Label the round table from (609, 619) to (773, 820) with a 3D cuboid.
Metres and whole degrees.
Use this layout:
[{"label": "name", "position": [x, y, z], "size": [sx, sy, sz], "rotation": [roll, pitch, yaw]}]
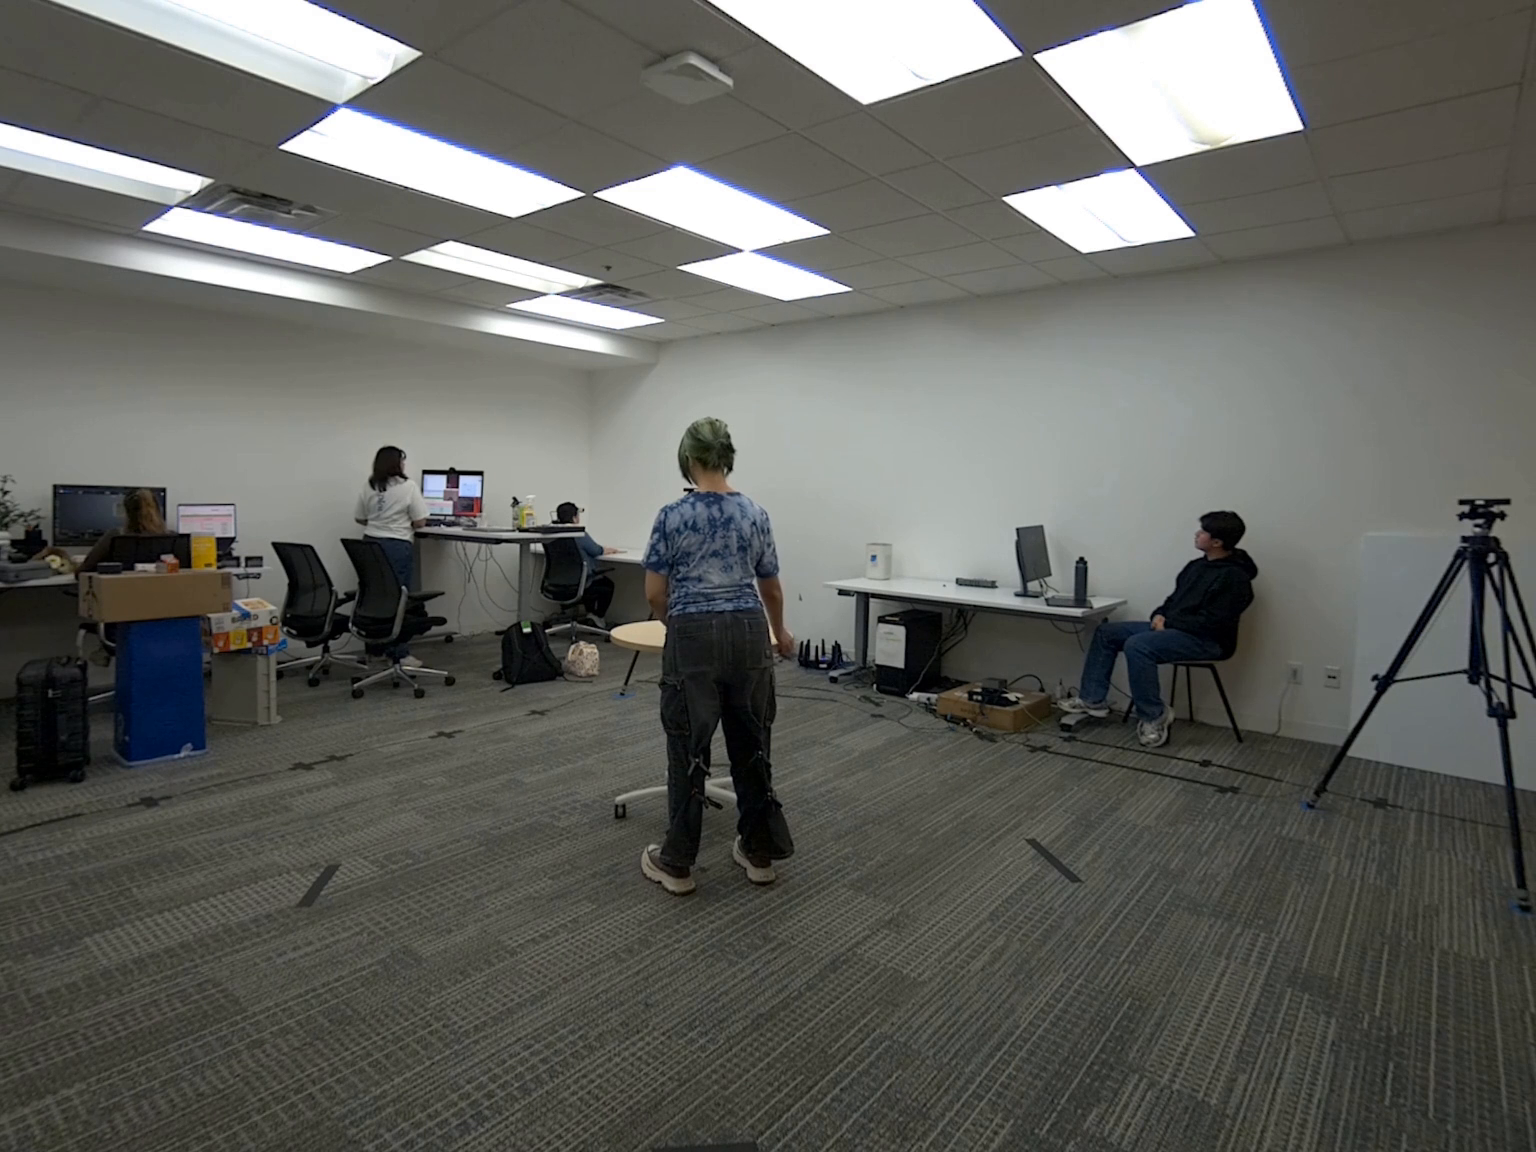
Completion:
[{"label": "round table", "position": [-0.310, 0.628, 3.600], "size": [0.763, 0.792, 0.767], "rotation": [1, 4, -2]}]
